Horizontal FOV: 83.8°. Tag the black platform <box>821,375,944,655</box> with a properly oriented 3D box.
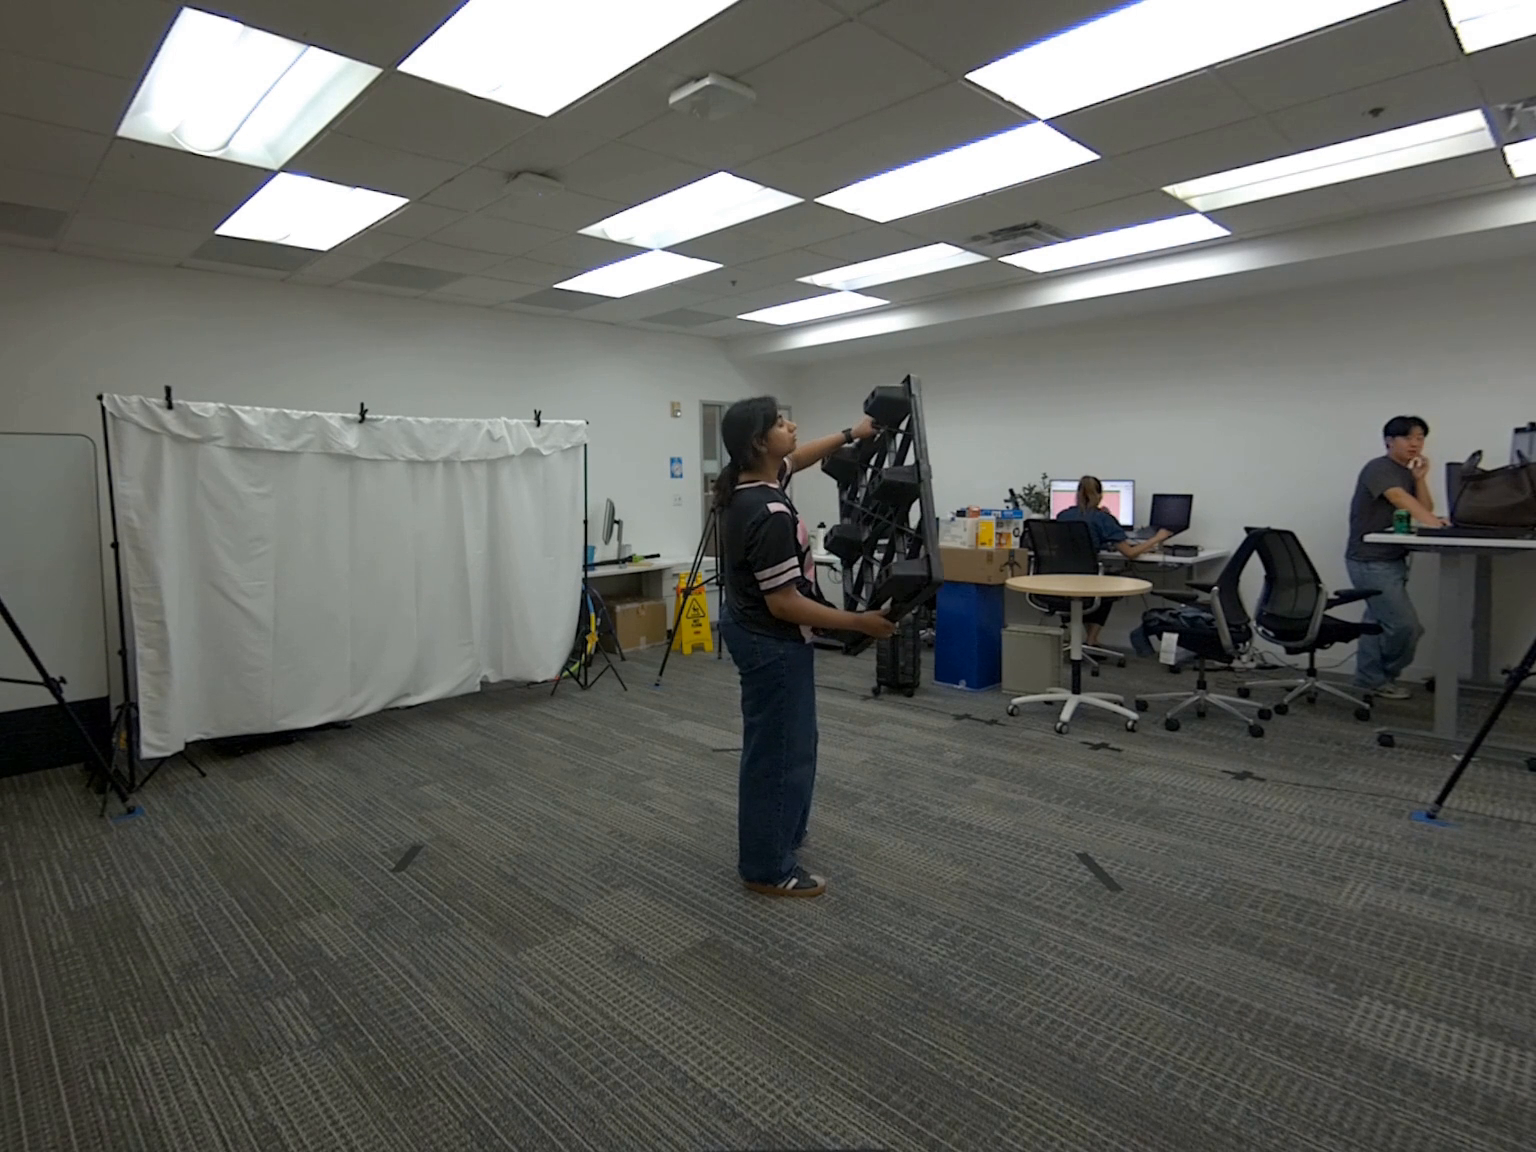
[{"bbox_3d":[0.345,-0.205,2.908,0.141,0.824,0.601,10,-31,-17],"label":"black platform"}]
